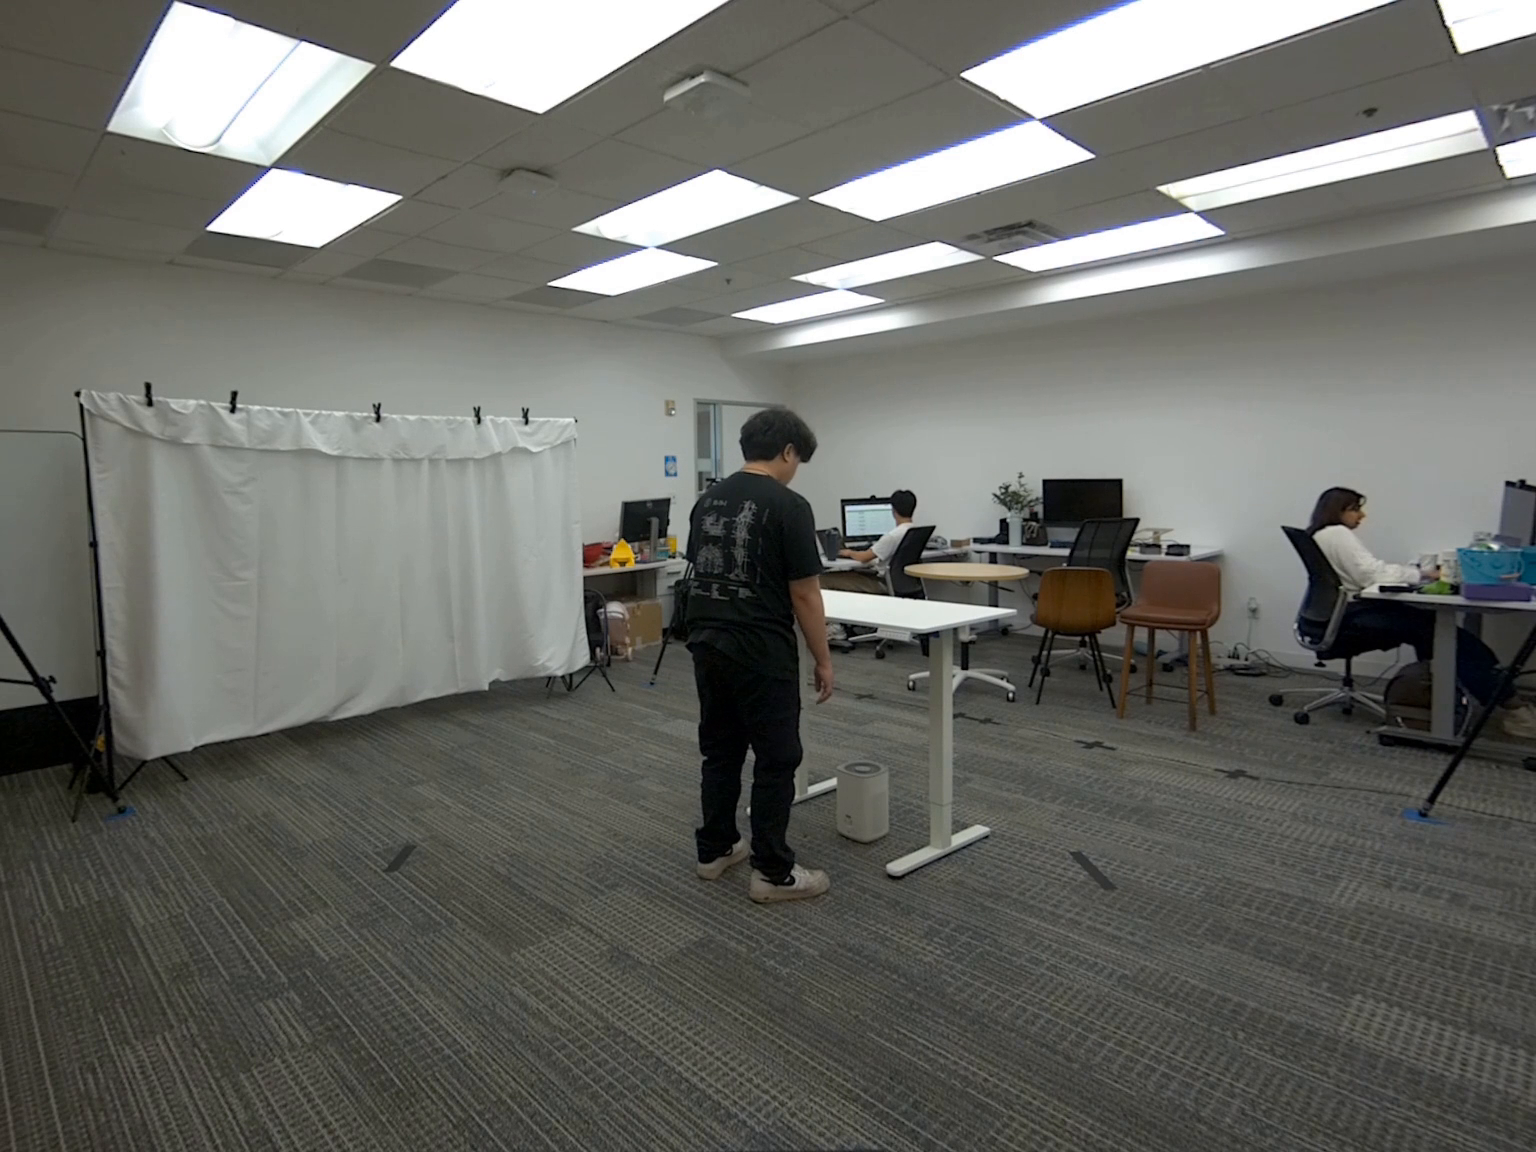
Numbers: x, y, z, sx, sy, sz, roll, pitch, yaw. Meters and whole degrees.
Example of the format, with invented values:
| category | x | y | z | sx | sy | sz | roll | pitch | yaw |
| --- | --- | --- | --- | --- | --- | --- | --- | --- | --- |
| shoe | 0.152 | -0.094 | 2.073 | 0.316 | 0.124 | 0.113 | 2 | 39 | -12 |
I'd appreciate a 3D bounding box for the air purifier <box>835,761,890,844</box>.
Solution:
| category | x | y | z | sx | sy | sz | roll | pitch | yaw |
| --- | --- | --- | --- | --- | --- | --- | --- | --- | --- |
| air purifier | 0.369 | 0.876 | 3.327 | 0.167 | 0.264 | 0.176 | -4 | 5 | -43 |
